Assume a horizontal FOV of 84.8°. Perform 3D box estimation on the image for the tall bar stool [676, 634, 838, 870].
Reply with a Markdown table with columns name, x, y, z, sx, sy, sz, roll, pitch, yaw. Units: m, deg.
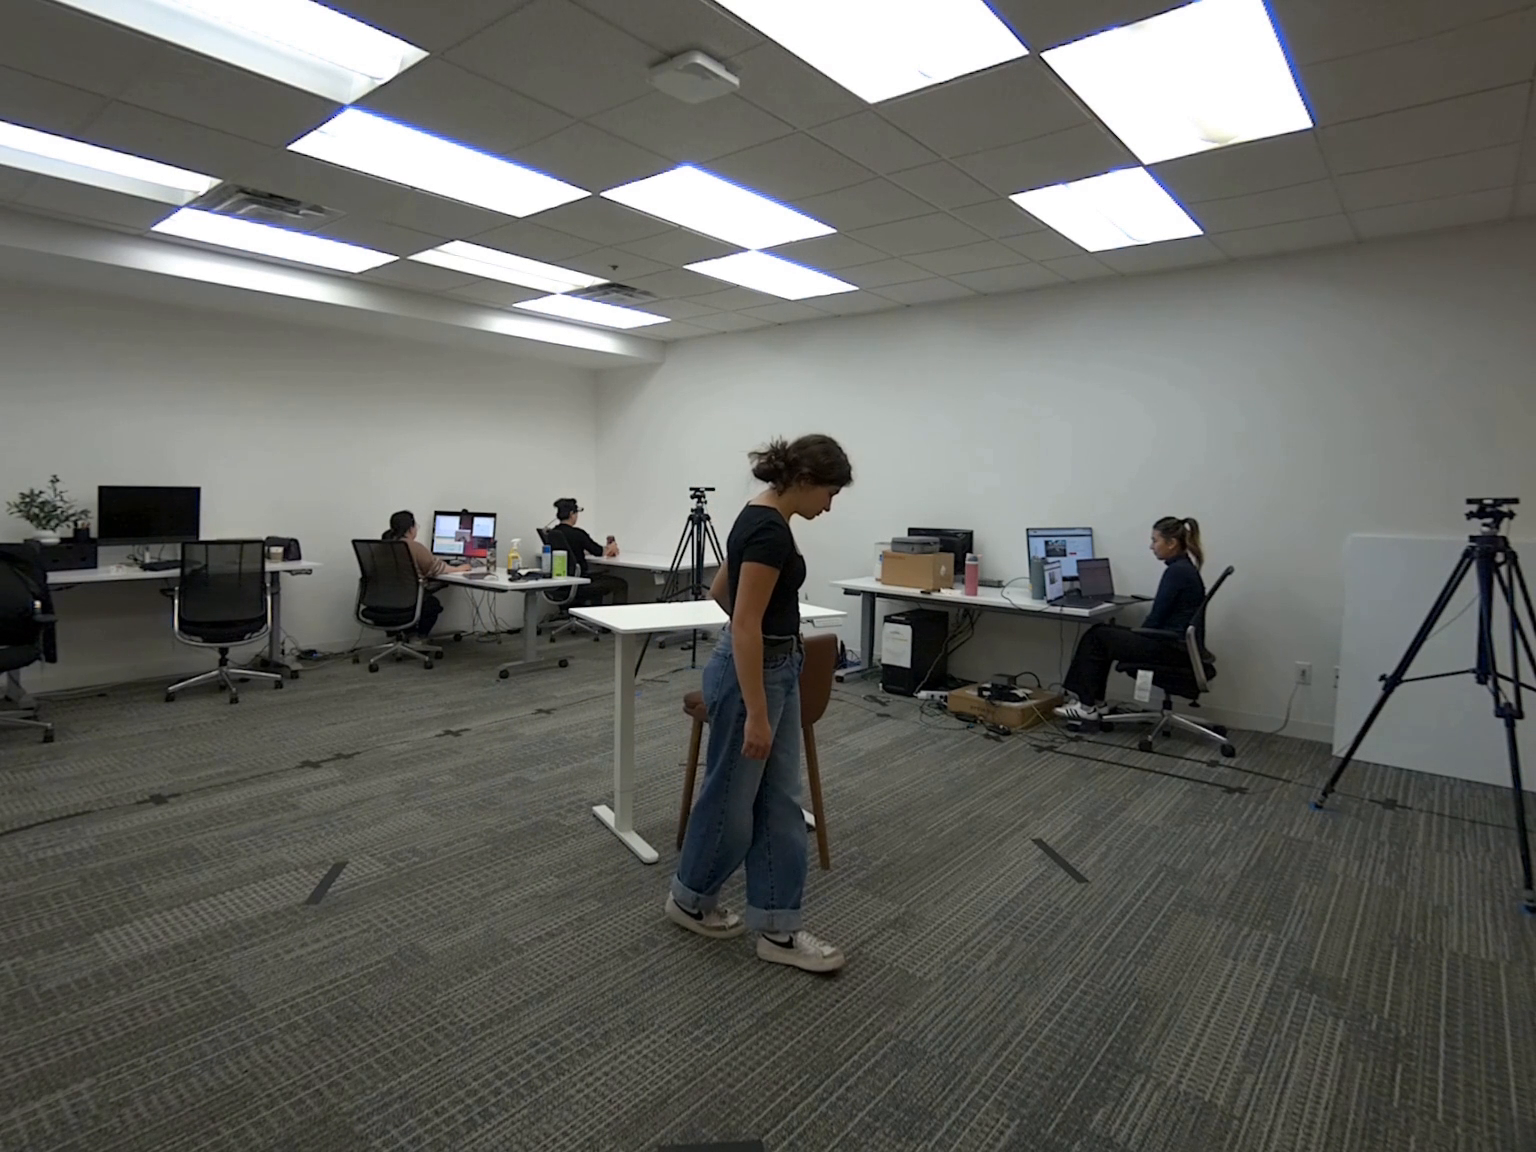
| name | x | y | z | sx | sy | sz | roll | pitch | yaw |
| --- | --- | --- | --- | --- | --- | --- | --- | --- | --- |
| tall bar stool | -0.044 | 0.629 | 3.173 | 0.442 | 0.886 | 0.484 | 0 | 6 | -39 |
